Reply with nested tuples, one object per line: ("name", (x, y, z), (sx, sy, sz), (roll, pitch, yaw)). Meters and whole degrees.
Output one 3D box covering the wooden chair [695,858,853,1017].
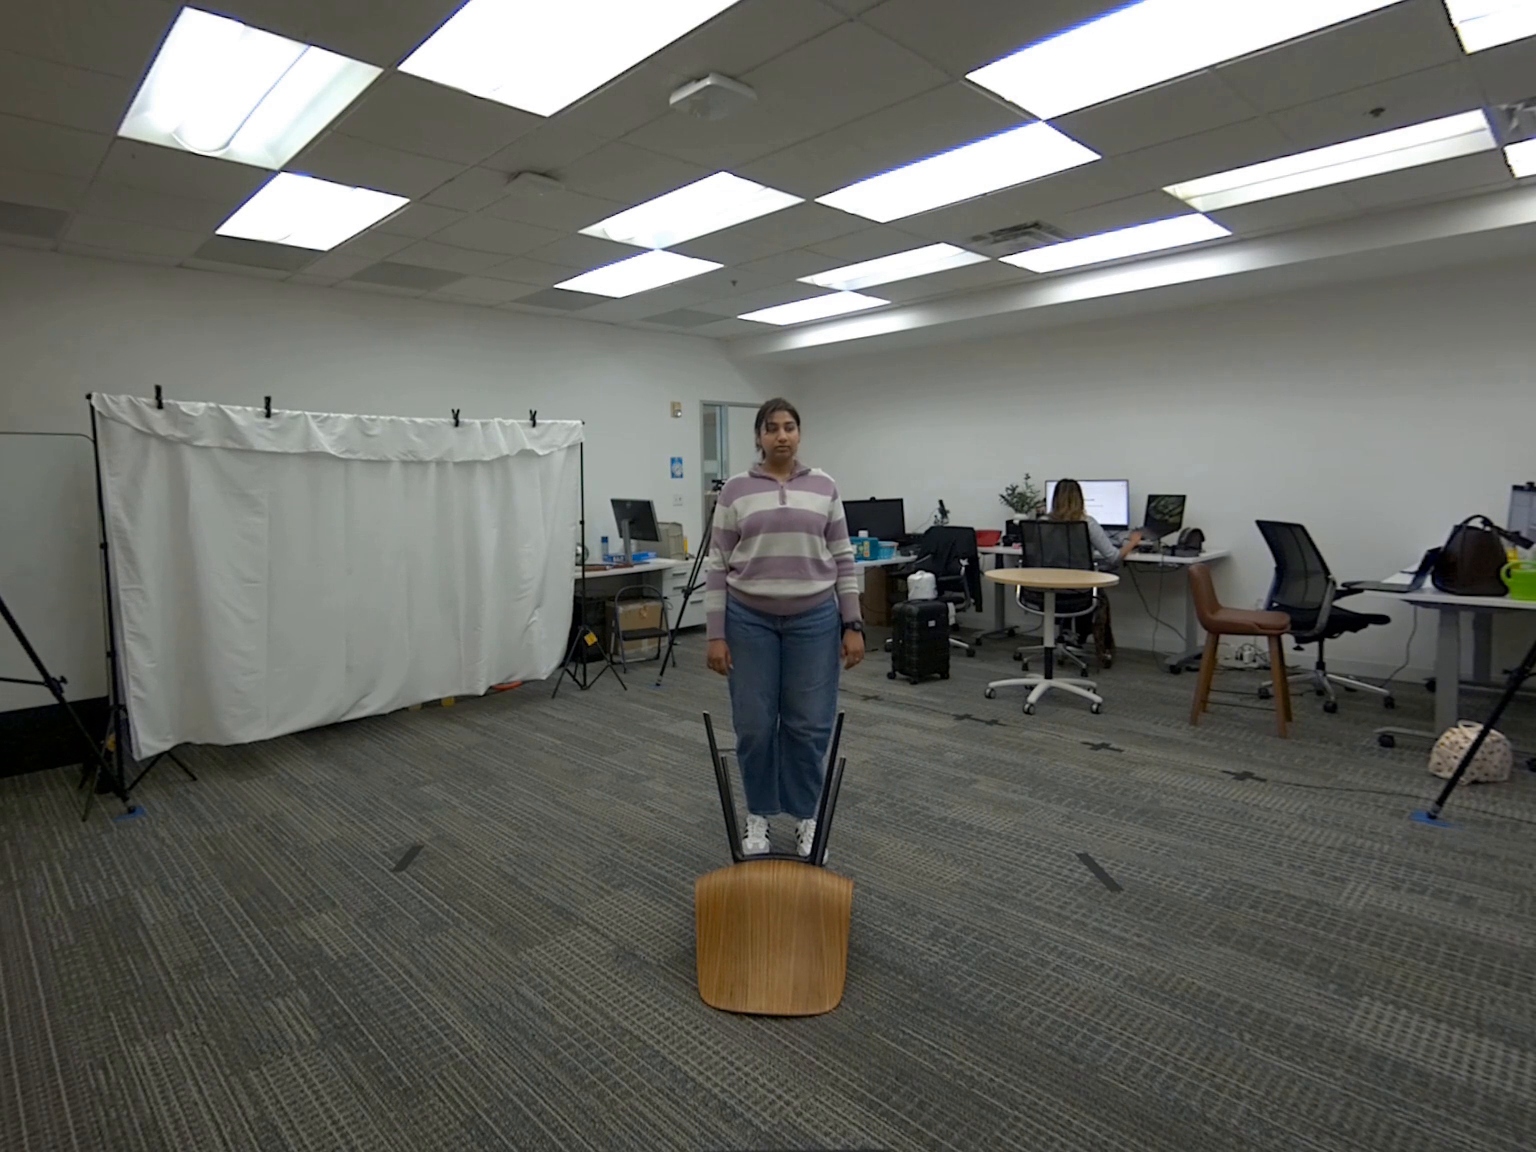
("wooden chair", (0.032, 0.927, 2.678), (0.481, 0.899, 0.507), (-2, -36, 6))
